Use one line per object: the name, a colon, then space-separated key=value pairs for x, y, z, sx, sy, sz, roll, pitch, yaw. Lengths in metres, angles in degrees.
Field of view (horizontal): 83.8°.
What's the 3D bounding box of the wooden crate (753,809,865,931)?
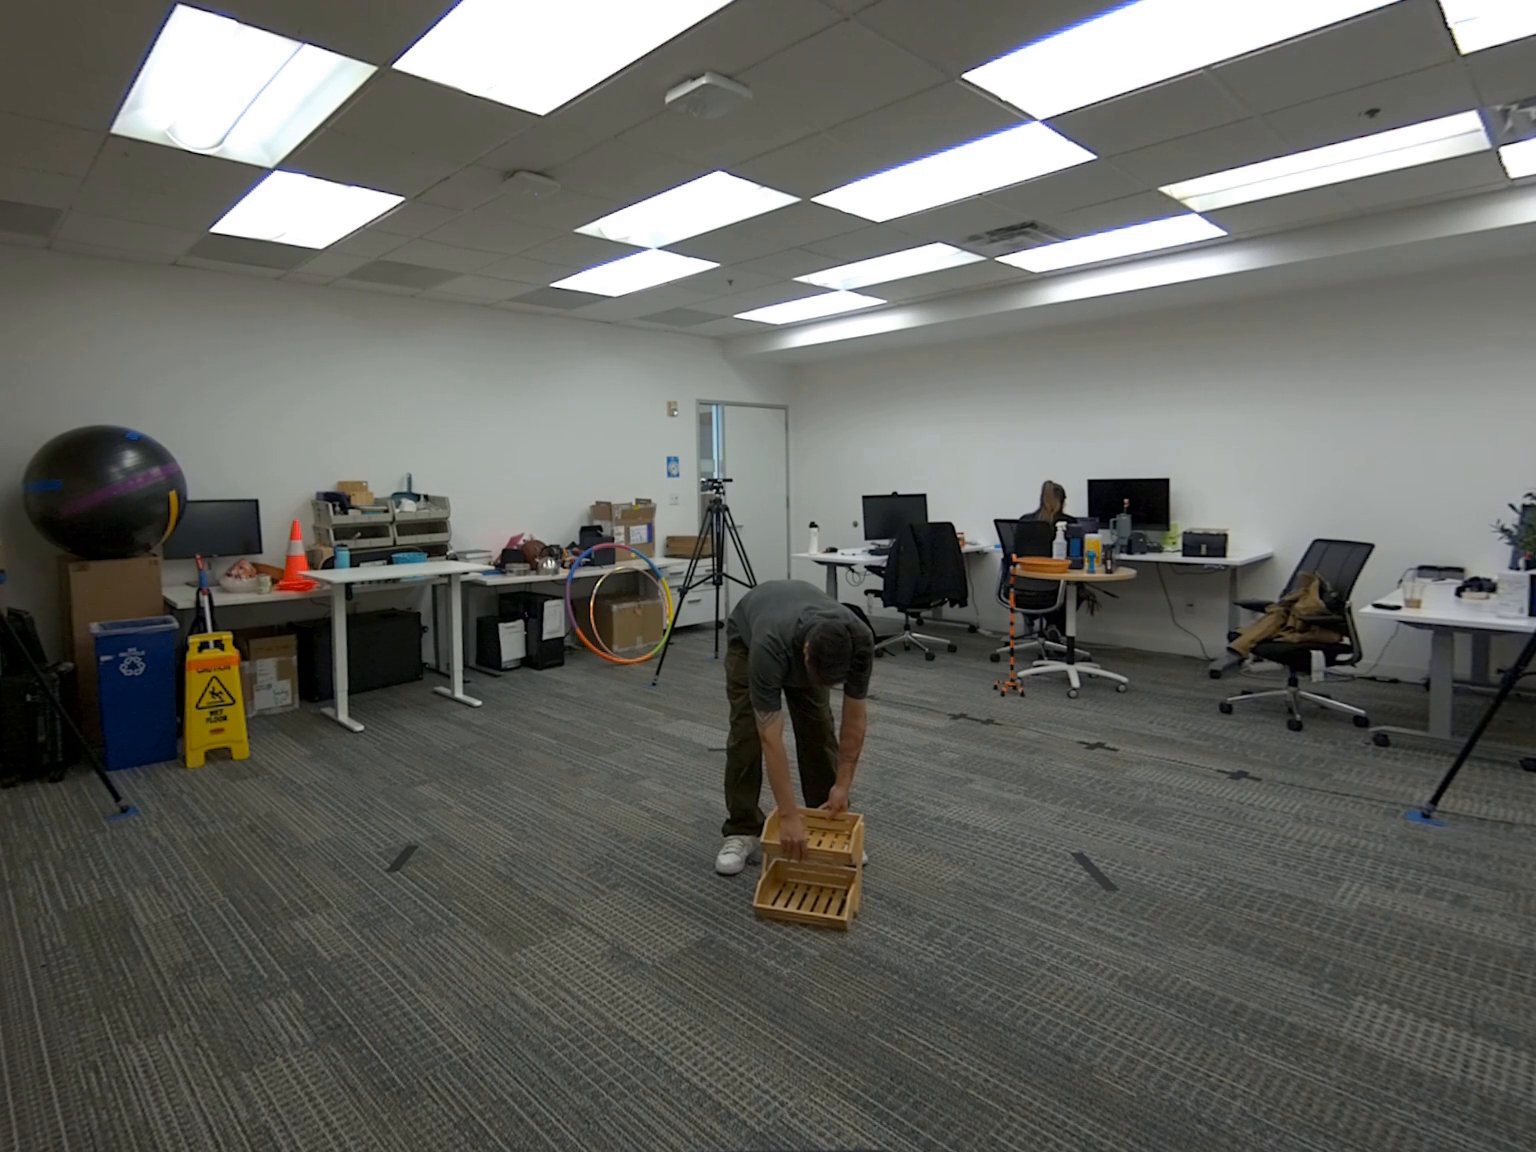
wooden crate: x=0.140 y=0.957 z=2.783 sx=0.330 sy=0.271 sz=0.298 roll=1 pitch=8 yaw=18
